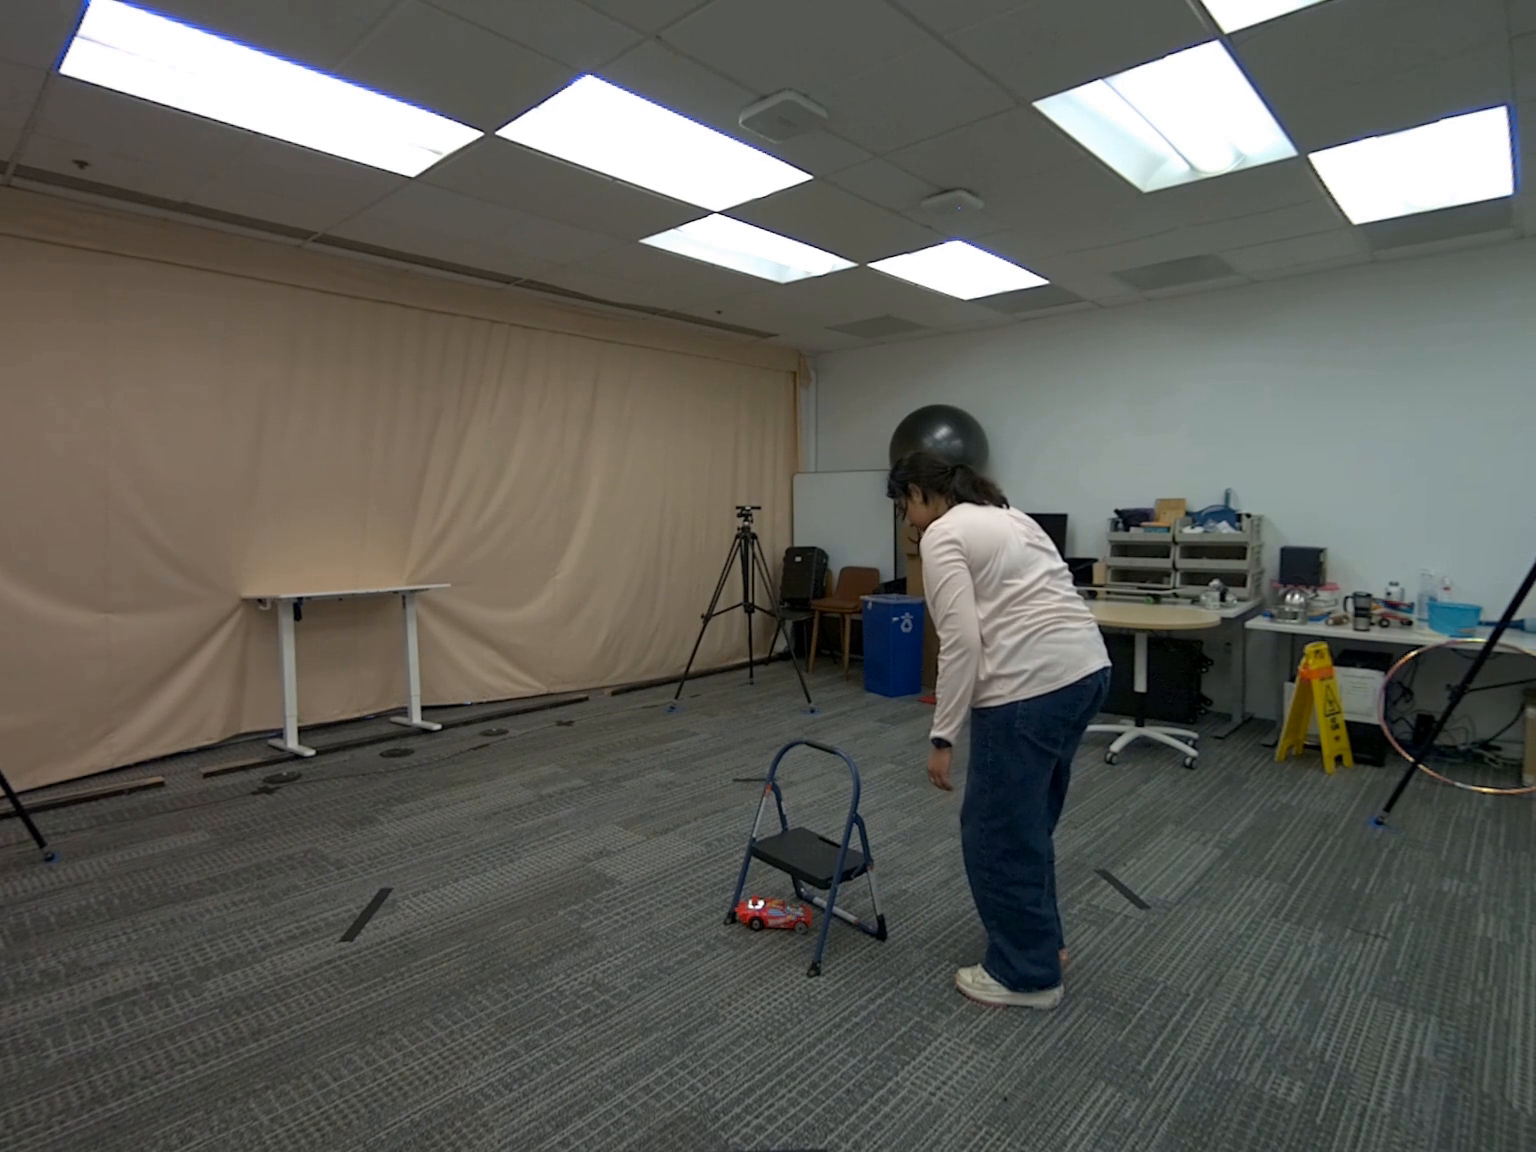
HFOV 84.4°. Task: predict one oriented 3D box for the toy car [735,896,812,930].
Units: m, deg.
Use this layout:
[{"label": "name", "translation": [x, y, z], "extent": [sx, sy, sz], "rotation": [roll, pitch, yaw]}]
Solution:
[{"label": "toy car", "translation": [0.021, 1.130, 2.799], "extent": [0.257, 0.083, 0.129], "rotation": [12, 4, 6]}]
